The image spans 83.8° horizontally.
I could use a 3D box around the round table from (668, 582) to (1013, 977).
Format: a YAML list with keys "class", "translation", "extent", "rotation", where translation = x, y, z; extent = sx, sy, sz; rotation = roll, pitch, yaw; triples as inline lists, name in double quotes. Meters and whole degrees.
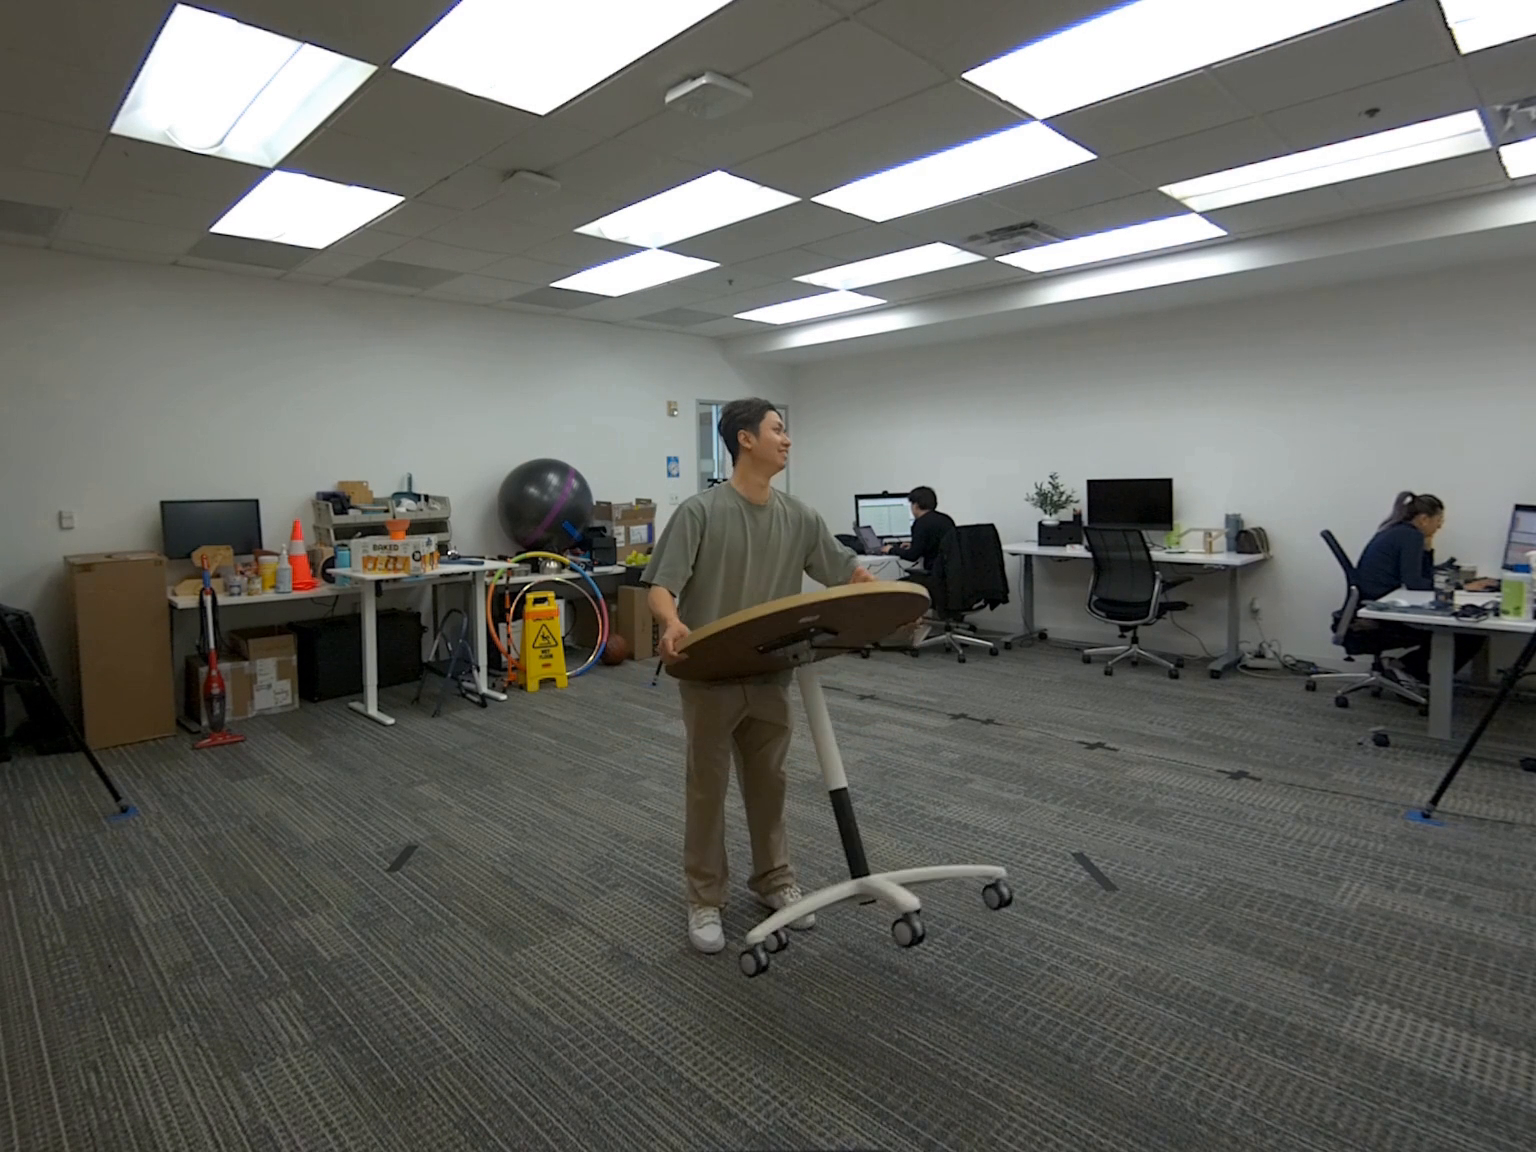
- class: "round table"
  translation: [0.167, 0.538, 2.264]
  extent: [0.782, 0.803, 0.772]
  rotation: [-12, -19, -6]
